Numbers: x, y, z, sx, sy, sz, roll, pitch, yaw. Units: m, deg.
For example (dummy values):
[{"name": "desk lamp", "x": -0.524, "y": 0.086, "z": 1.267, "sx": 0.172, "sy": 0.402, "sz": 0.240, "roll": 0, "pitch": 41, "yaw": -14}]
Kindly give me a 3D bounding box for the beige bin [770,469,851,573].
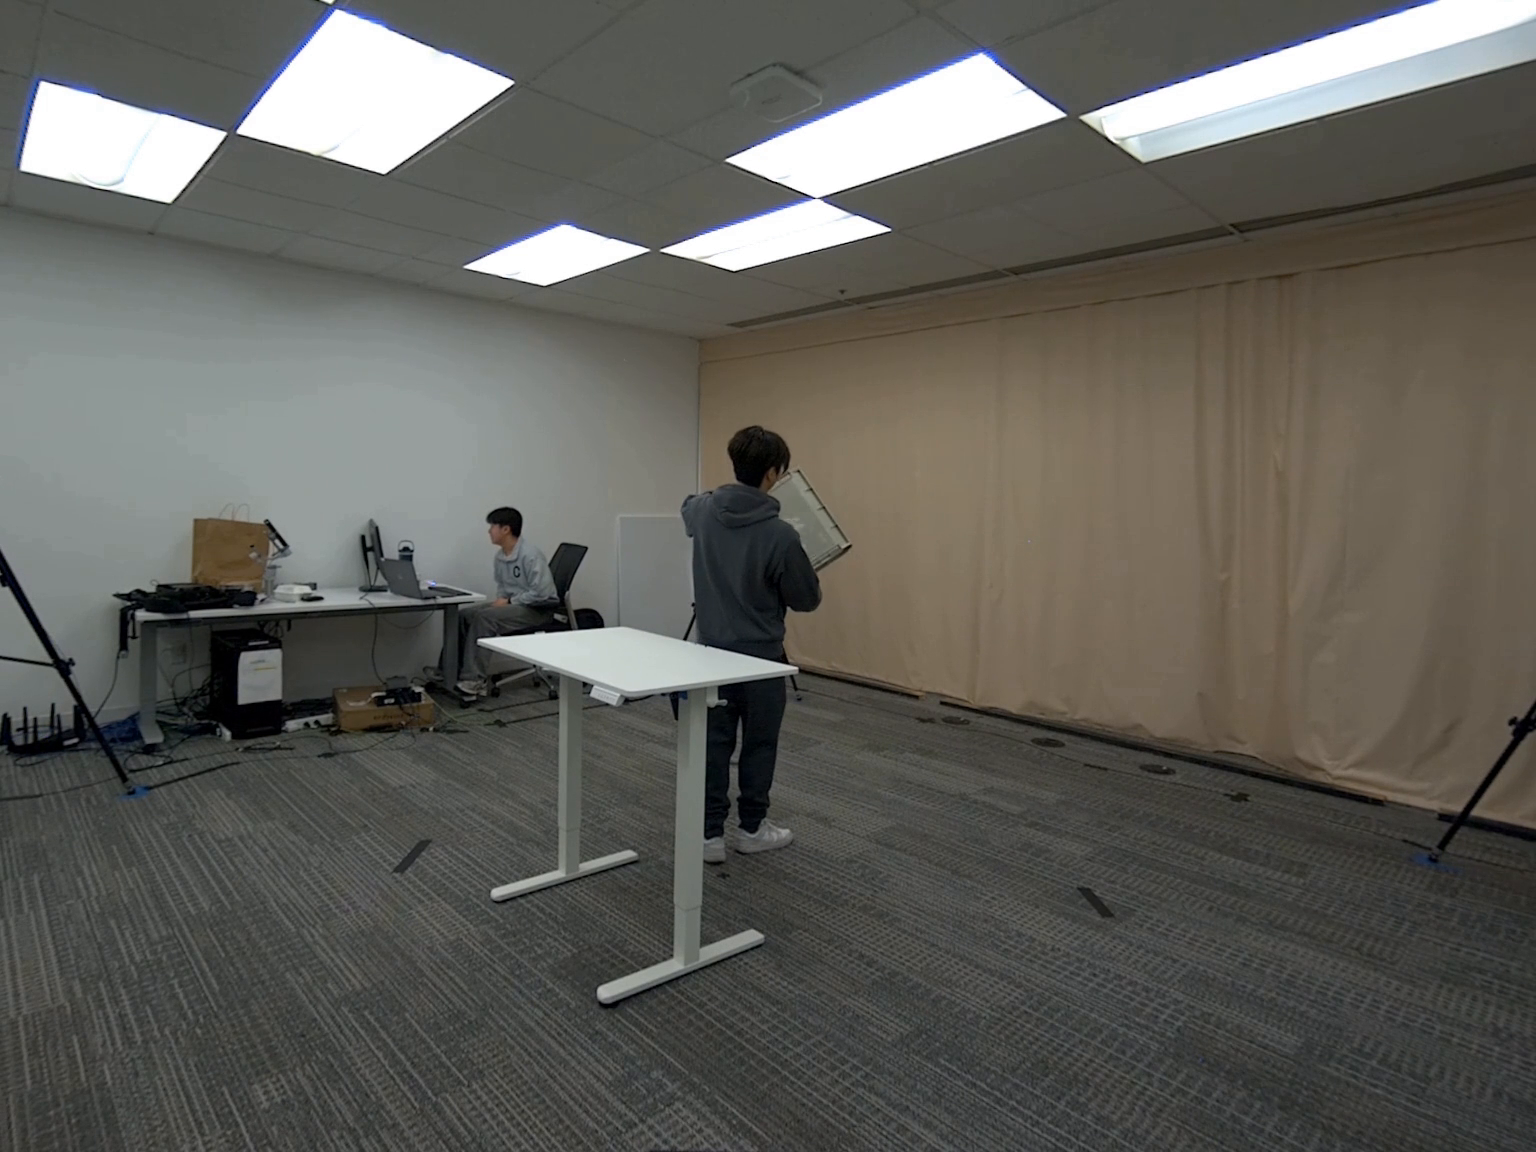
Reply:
[{"name": "beige bin", "x": 0.093, "y": -0.193, "z": 3.630, "sx": 0.377, "sy": 0.427, "sz": 0.187, "roll": -34, "pitch": -9, "yaw": 1}]
